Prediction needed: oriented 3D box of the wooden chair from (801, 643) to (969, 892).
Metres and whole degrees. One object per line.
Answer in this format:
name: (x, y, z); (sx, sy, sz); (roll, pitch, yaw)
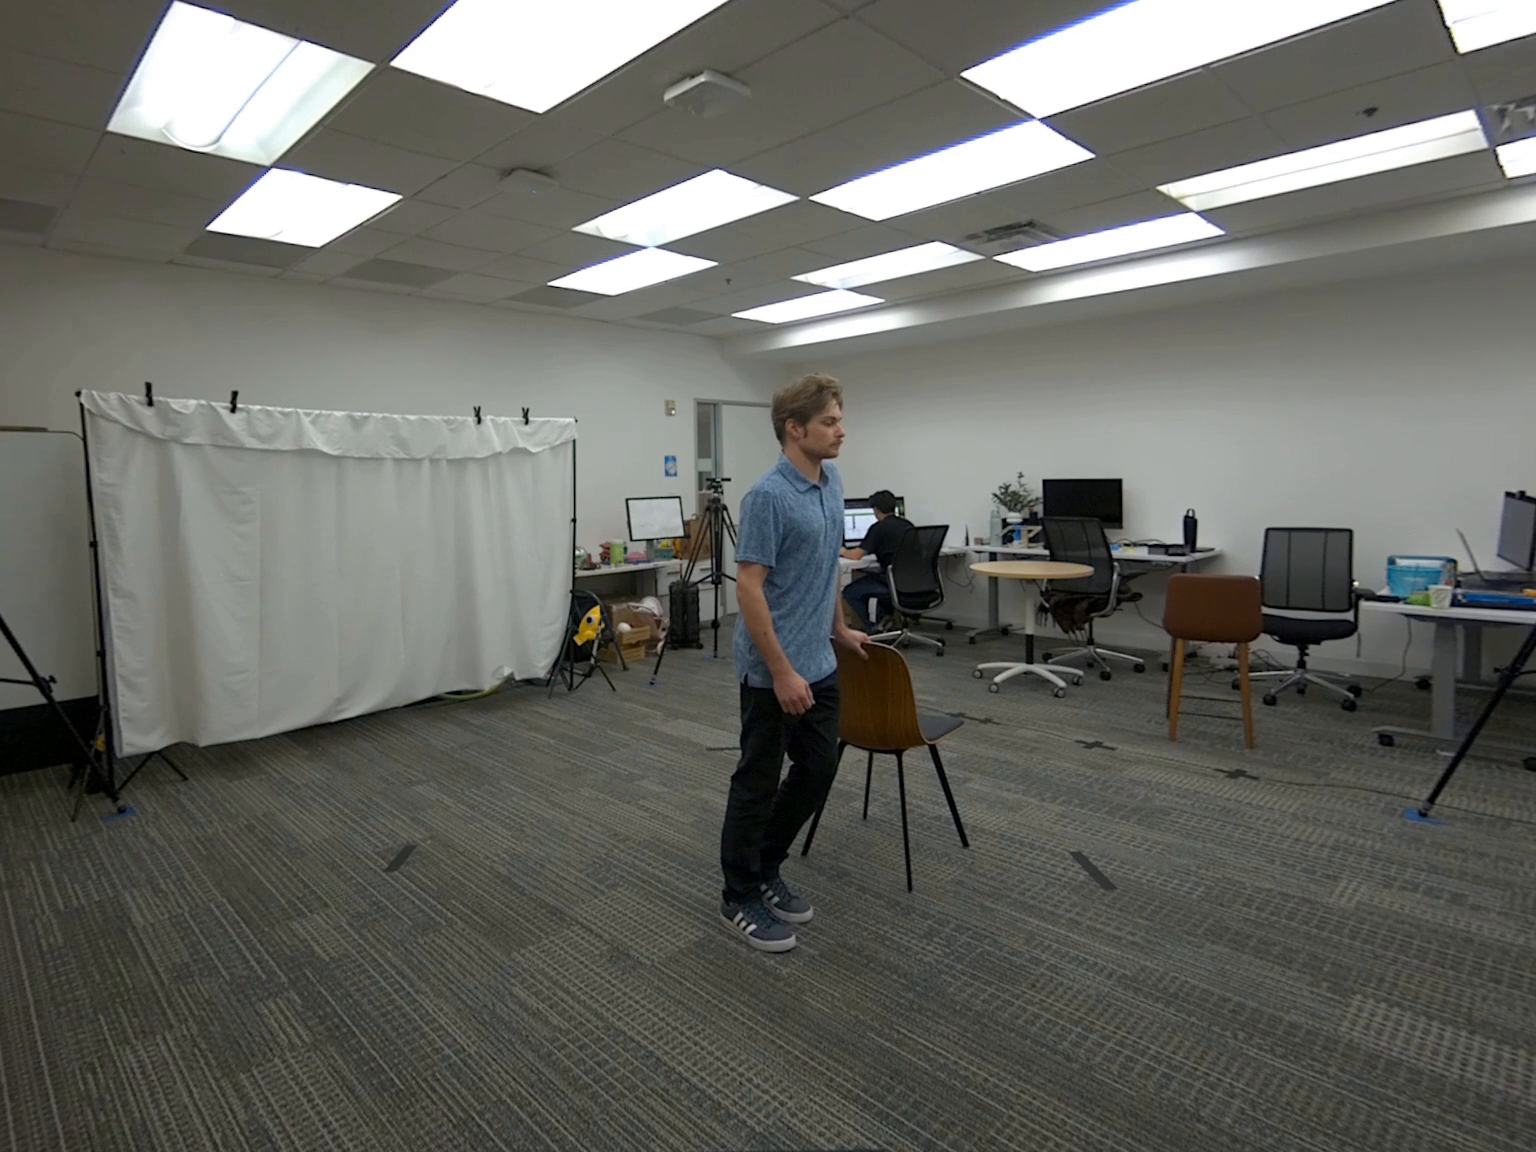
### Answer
wooden chair: (0.434, 0.598, 3.159); (0.492, 0.871, 0.511); (2, 9, 39)
